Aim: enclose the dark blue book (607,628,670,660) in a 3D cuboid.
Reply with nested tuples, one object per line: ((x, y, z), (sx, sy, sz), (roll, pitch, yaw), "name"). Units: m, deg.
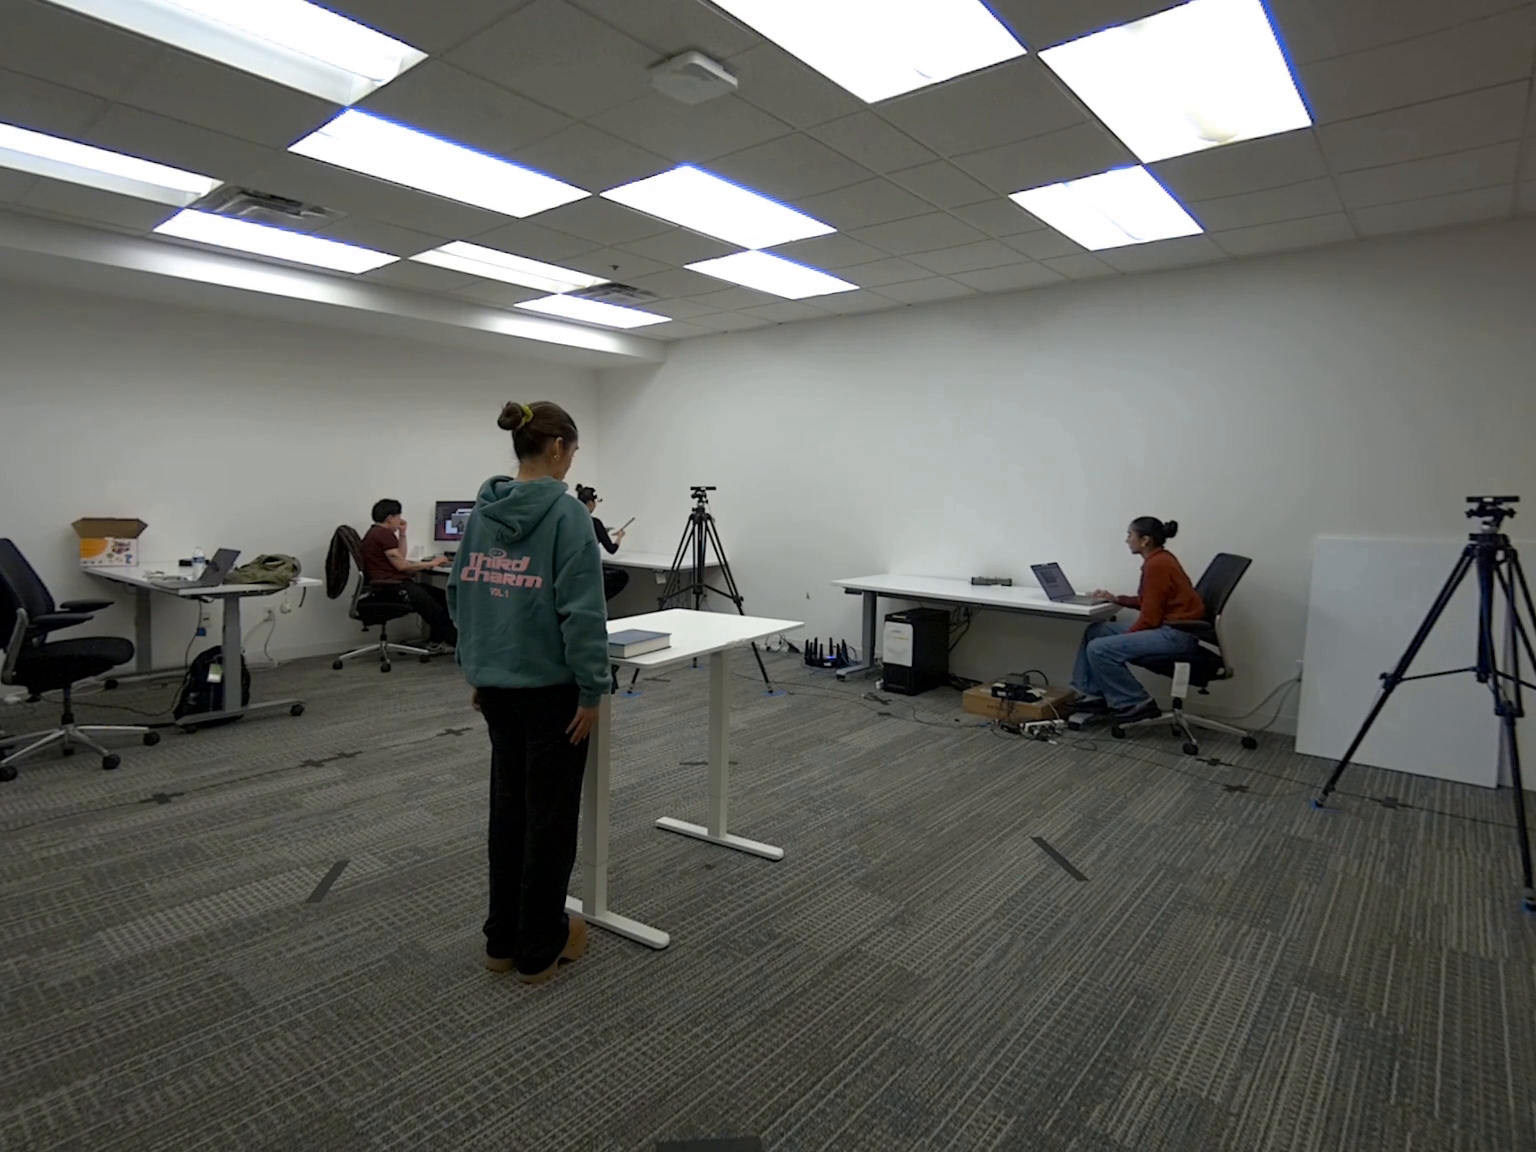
((-0.442, 0.210, 2.611), (0.168, 0.045, 0.239), (3, 6, 27), "dark blue book")
